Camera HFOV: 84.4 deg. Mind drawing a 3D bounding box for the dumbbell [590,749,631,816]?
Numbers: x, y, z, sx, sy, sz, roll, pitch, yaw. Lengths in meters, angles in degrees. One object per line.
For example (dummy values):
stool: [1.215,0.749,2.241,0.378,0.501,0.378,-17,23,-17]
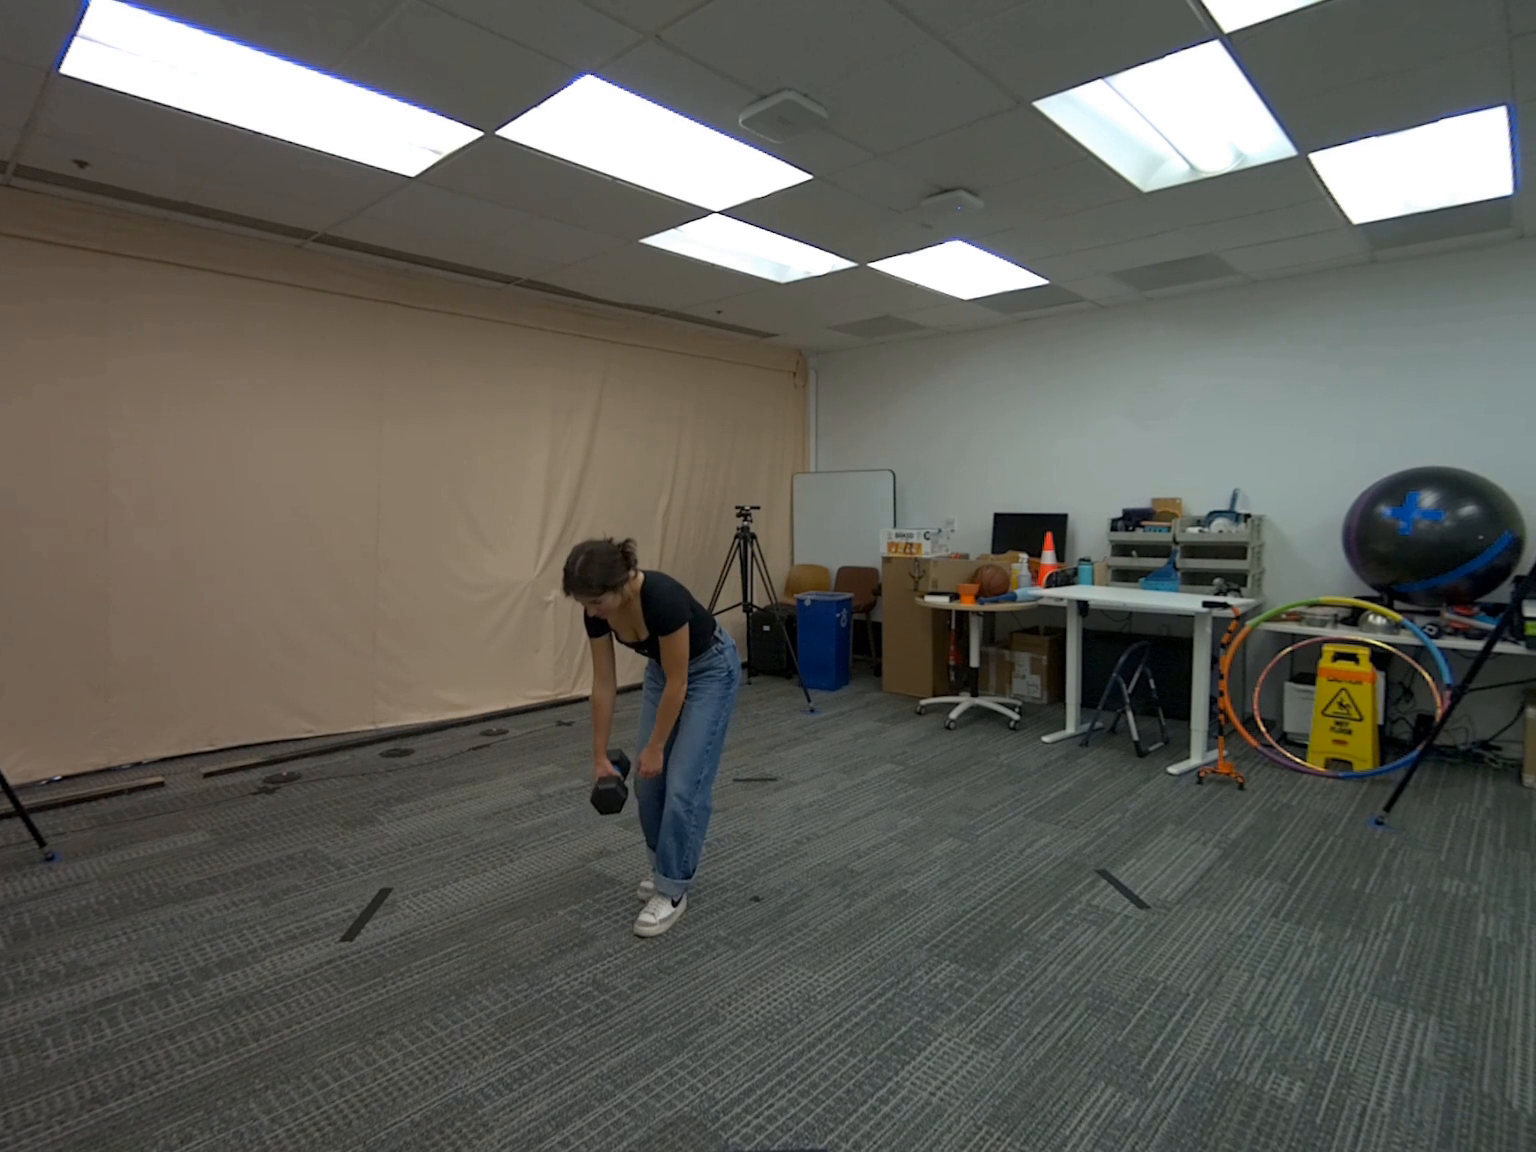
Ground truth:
dumbbell: [-0.523,0.694,2.833,0.109,0.121,0.297,-36,11,0]
